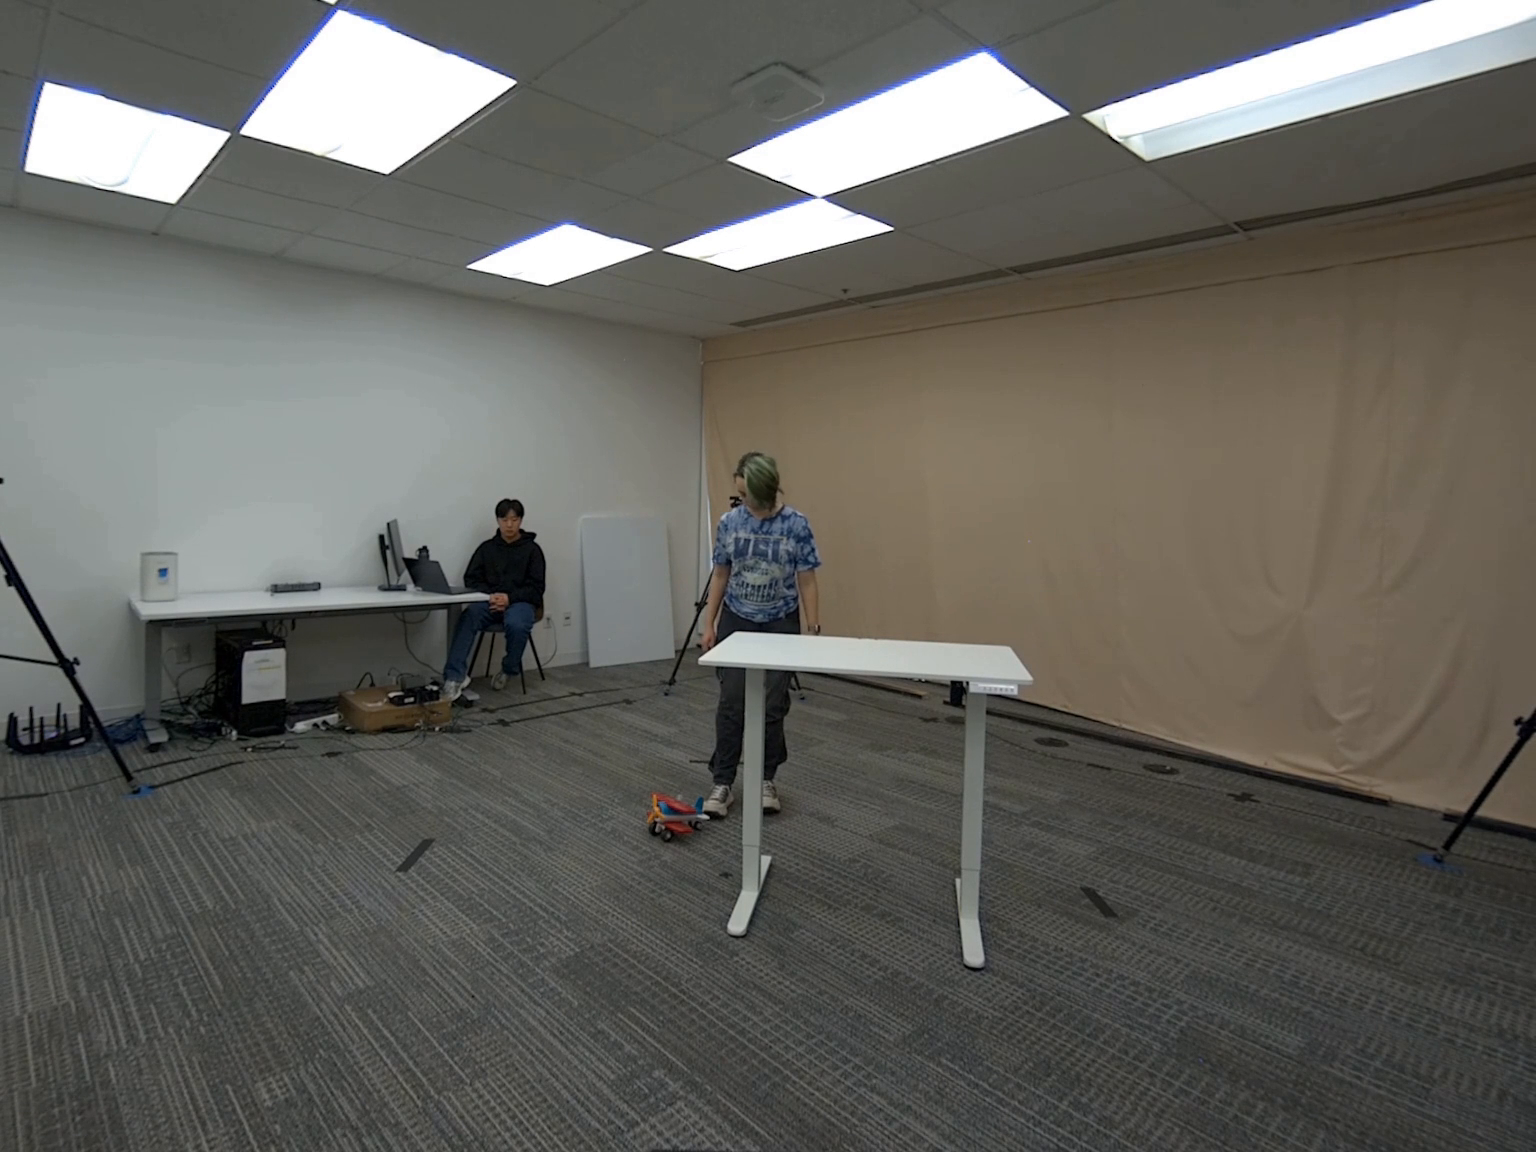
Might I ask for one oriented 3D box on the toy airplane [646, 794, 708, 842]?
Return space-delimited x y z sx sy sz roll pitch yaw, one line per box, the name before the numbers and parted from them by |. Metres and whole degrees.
toy airplane | -0.393 0.990 3.490 0.255 0.156 0.256 3 7 19
